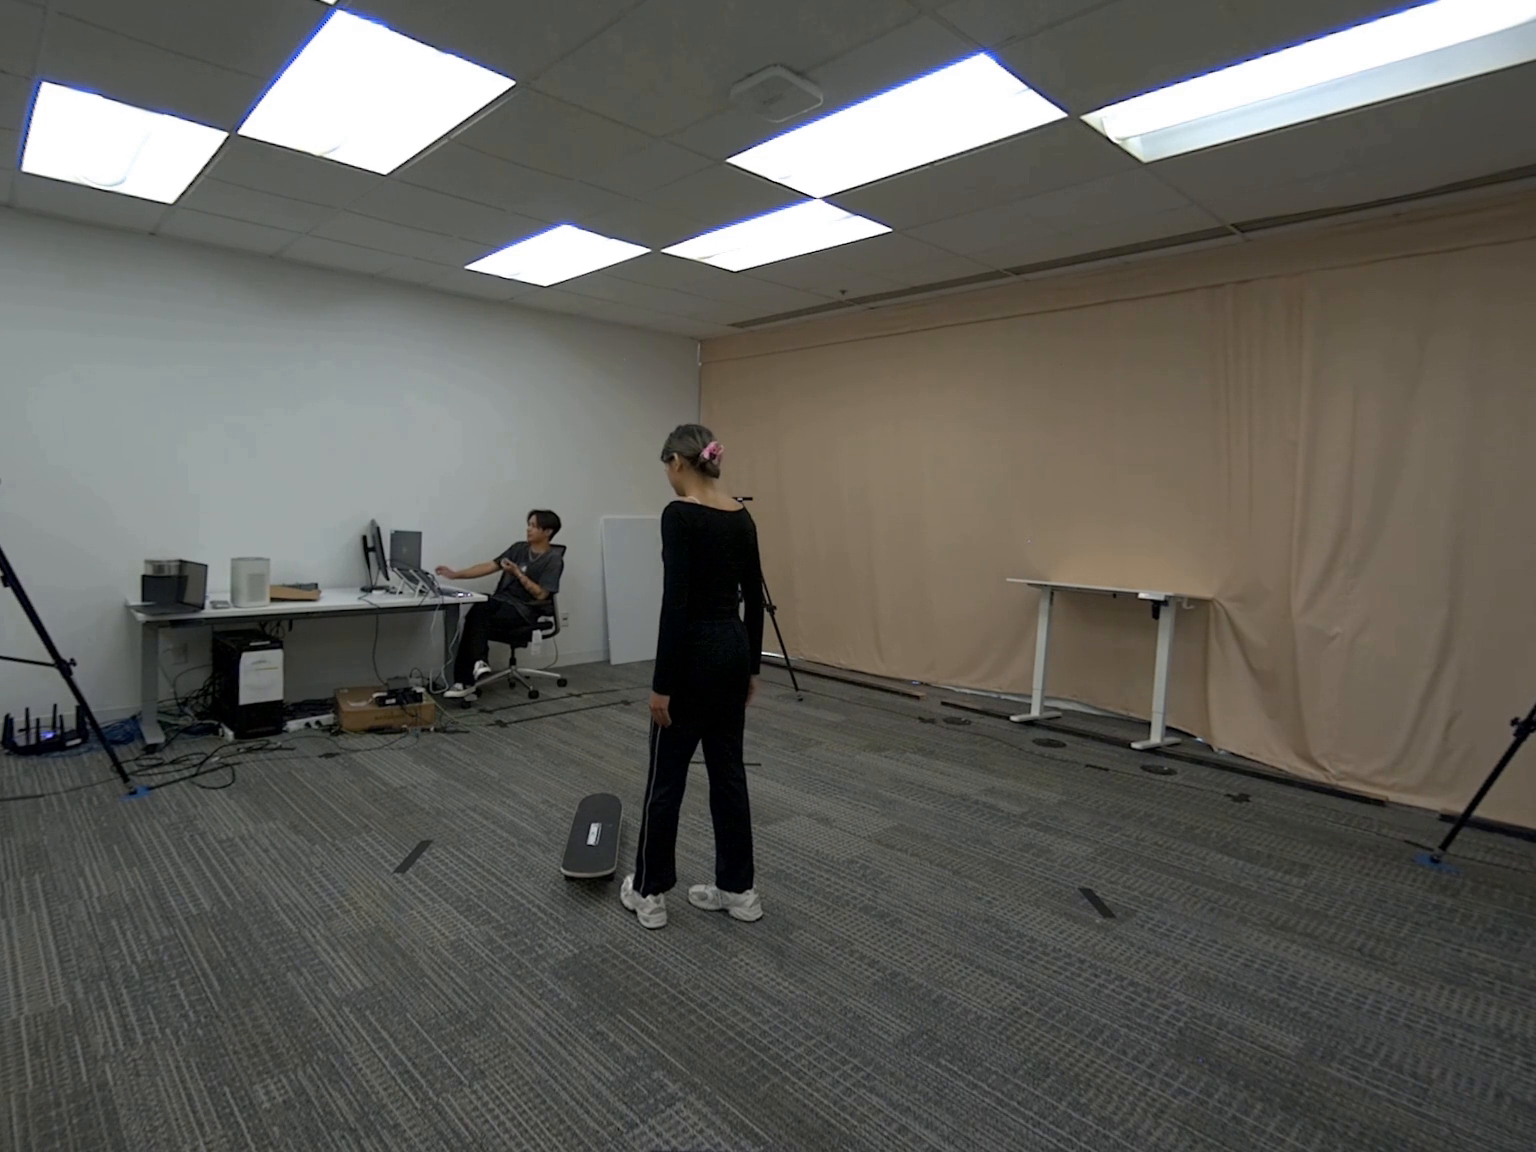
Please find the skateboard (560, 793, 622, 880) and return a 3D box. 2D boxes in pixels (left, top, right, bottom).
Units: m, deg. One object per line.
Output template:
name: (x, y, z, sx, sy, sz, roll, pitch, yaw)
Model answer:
skateboard: (-0.682, 1.029, 3.247, 0.192, 0.110, 0.791, 1, 5, -6)
